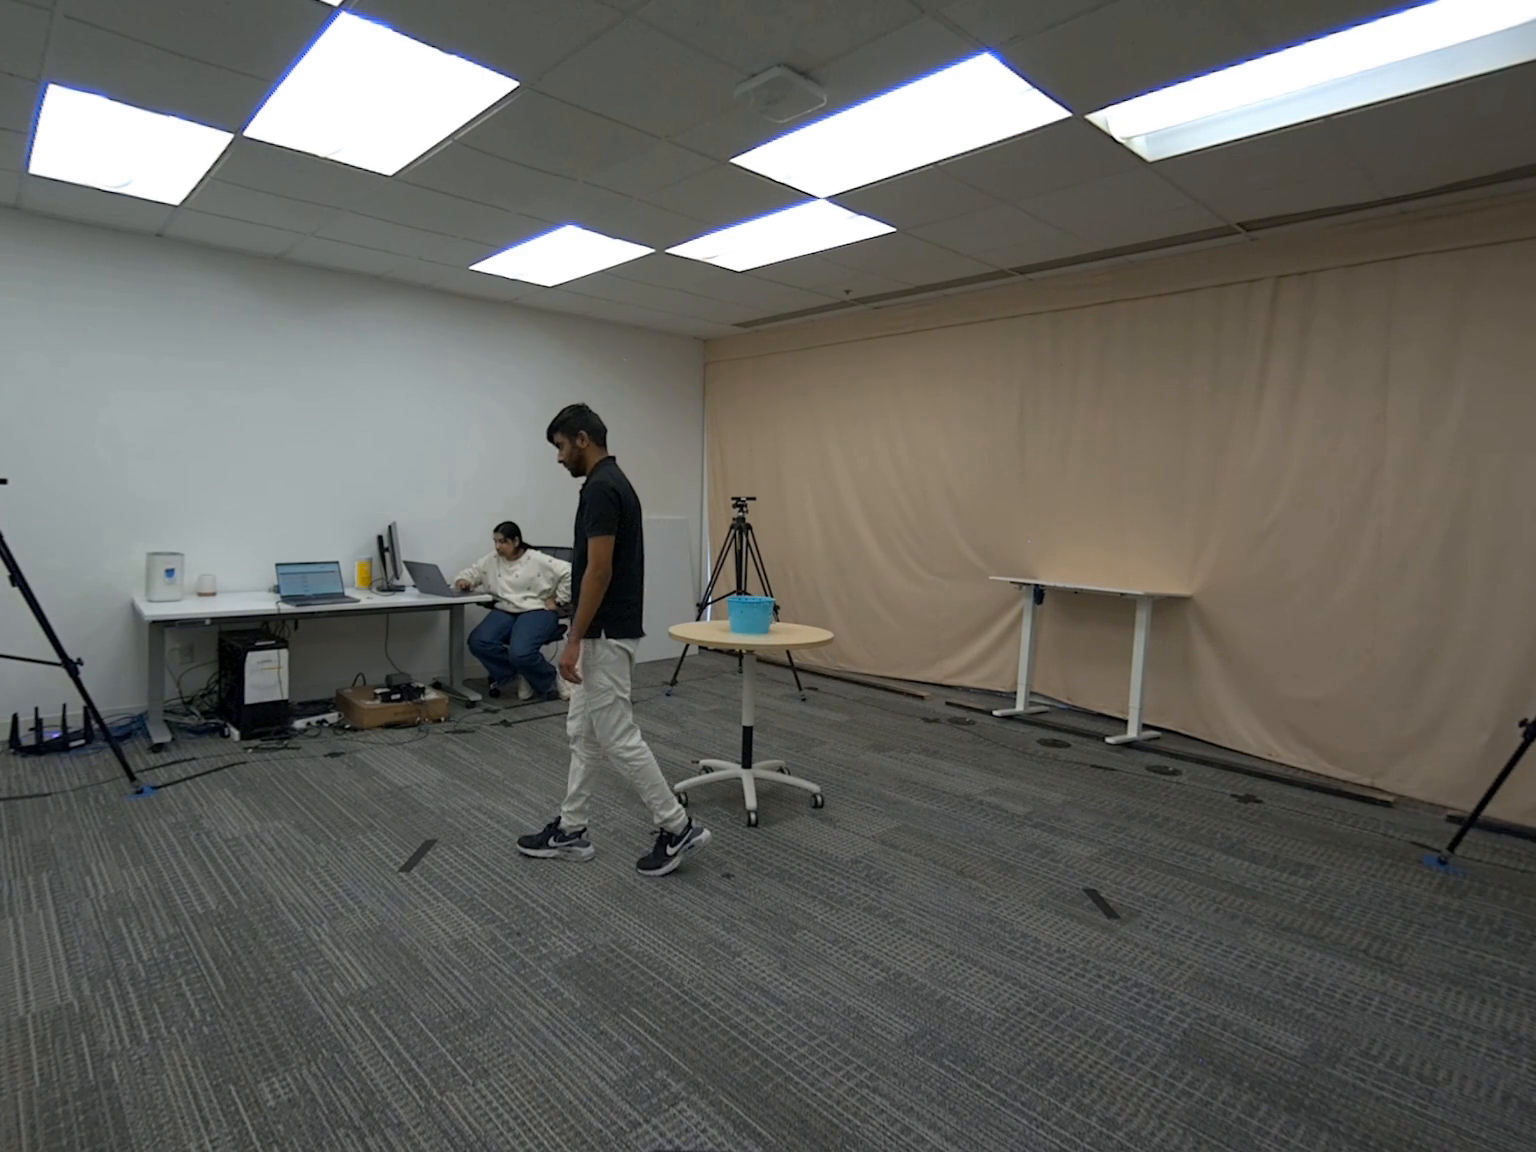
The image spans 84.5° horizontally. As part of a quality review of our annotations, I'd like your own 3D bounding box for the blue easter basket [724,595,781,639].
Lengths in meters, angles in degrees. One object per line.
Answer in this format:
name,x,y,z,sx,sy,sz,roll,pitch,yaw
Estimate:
blue easter basket,-0.076,0.184,3.911,0.243,0.155,0.244,2,4,-2
